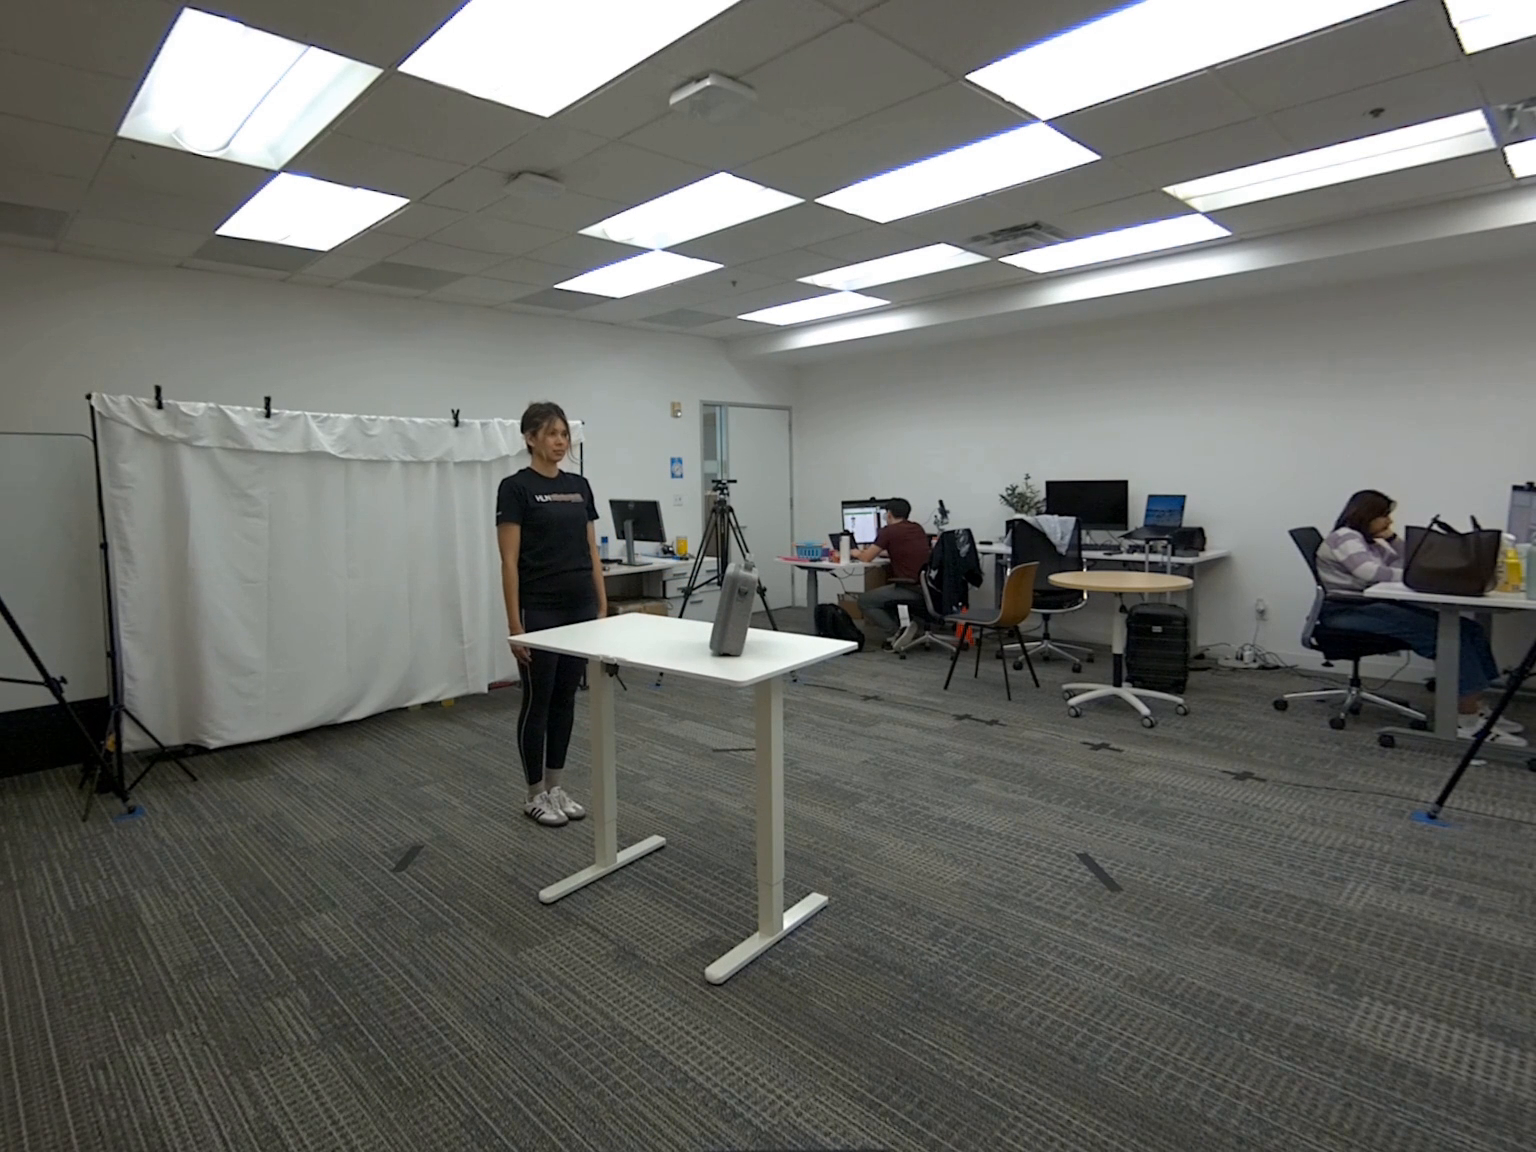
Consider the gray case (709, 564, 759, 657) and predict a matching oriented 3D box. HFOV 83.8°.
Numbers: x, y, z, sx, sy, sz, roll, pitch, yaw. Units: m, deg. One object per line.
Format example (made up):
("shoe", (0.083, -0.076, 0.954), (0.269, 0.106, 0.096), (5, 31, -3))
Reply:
("gray case", (-0.091, 0.091, 2.615), (0.104, 0.259, 0.259), (8, 6, -4))
